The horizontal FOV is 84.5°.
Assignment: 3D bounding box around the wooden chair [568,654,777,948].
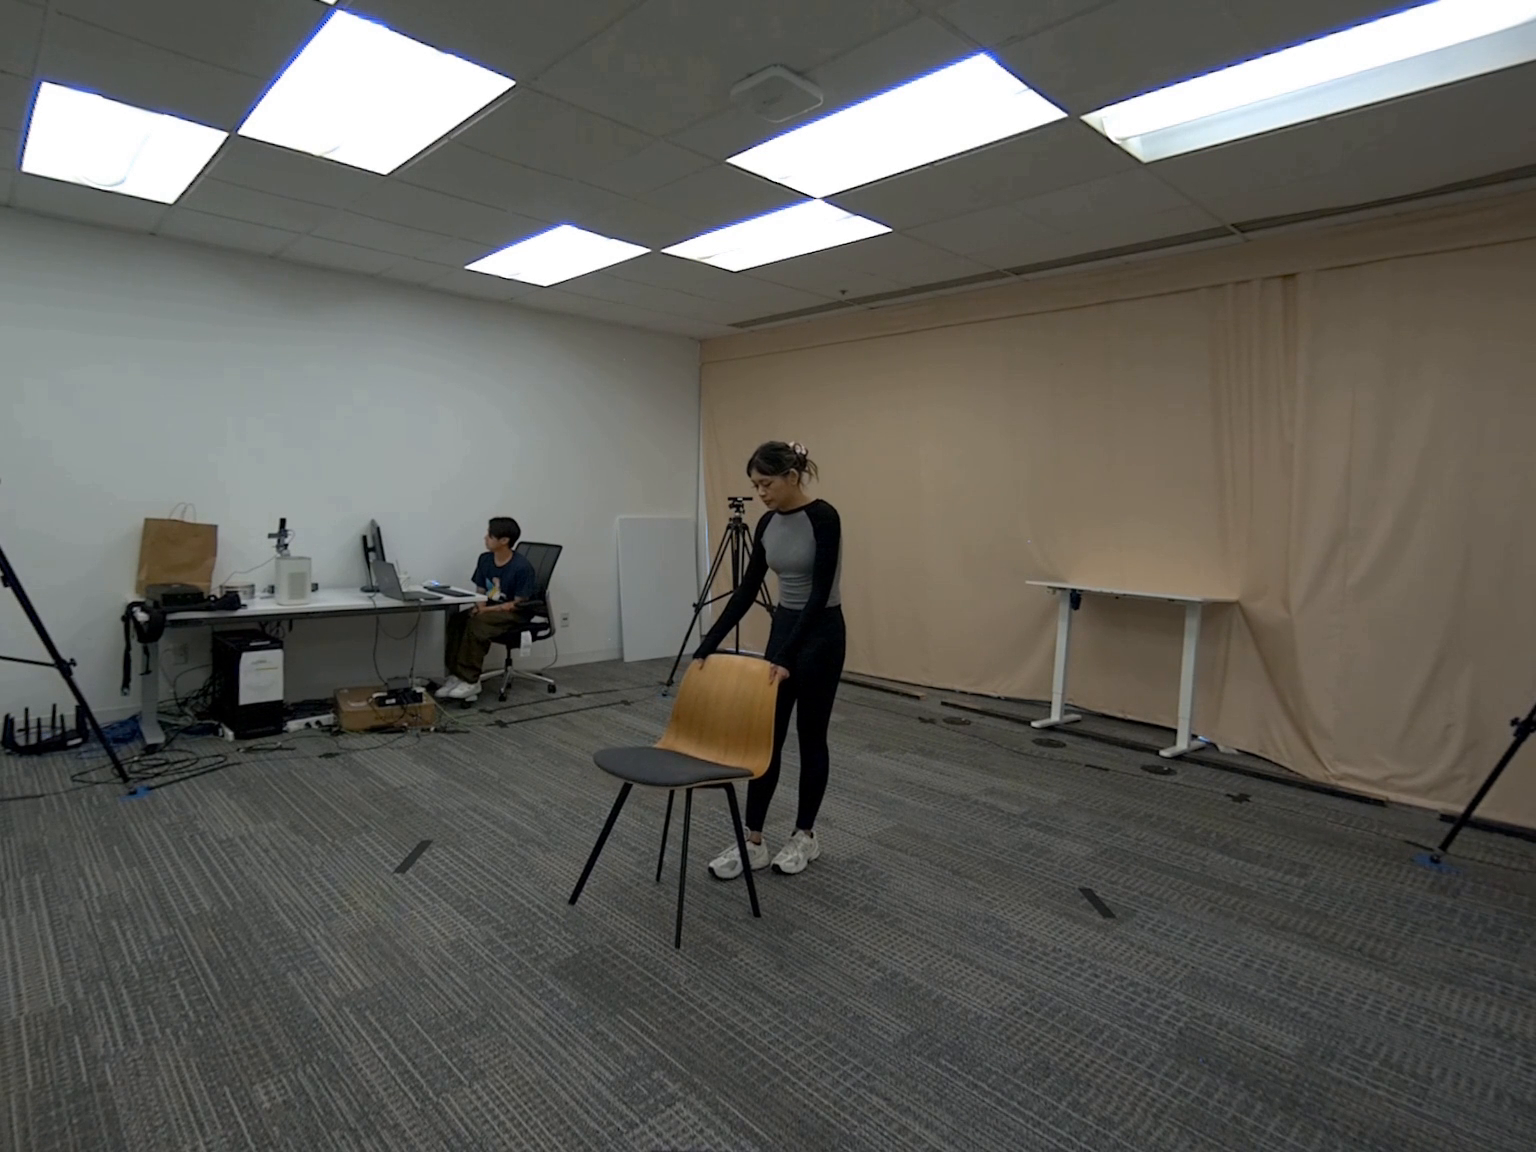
[{"bbox_3d":[-0.284,0.676,2.767,0.489,0.882,0.508,4,-11,34],"label":"wooden chair"}]
